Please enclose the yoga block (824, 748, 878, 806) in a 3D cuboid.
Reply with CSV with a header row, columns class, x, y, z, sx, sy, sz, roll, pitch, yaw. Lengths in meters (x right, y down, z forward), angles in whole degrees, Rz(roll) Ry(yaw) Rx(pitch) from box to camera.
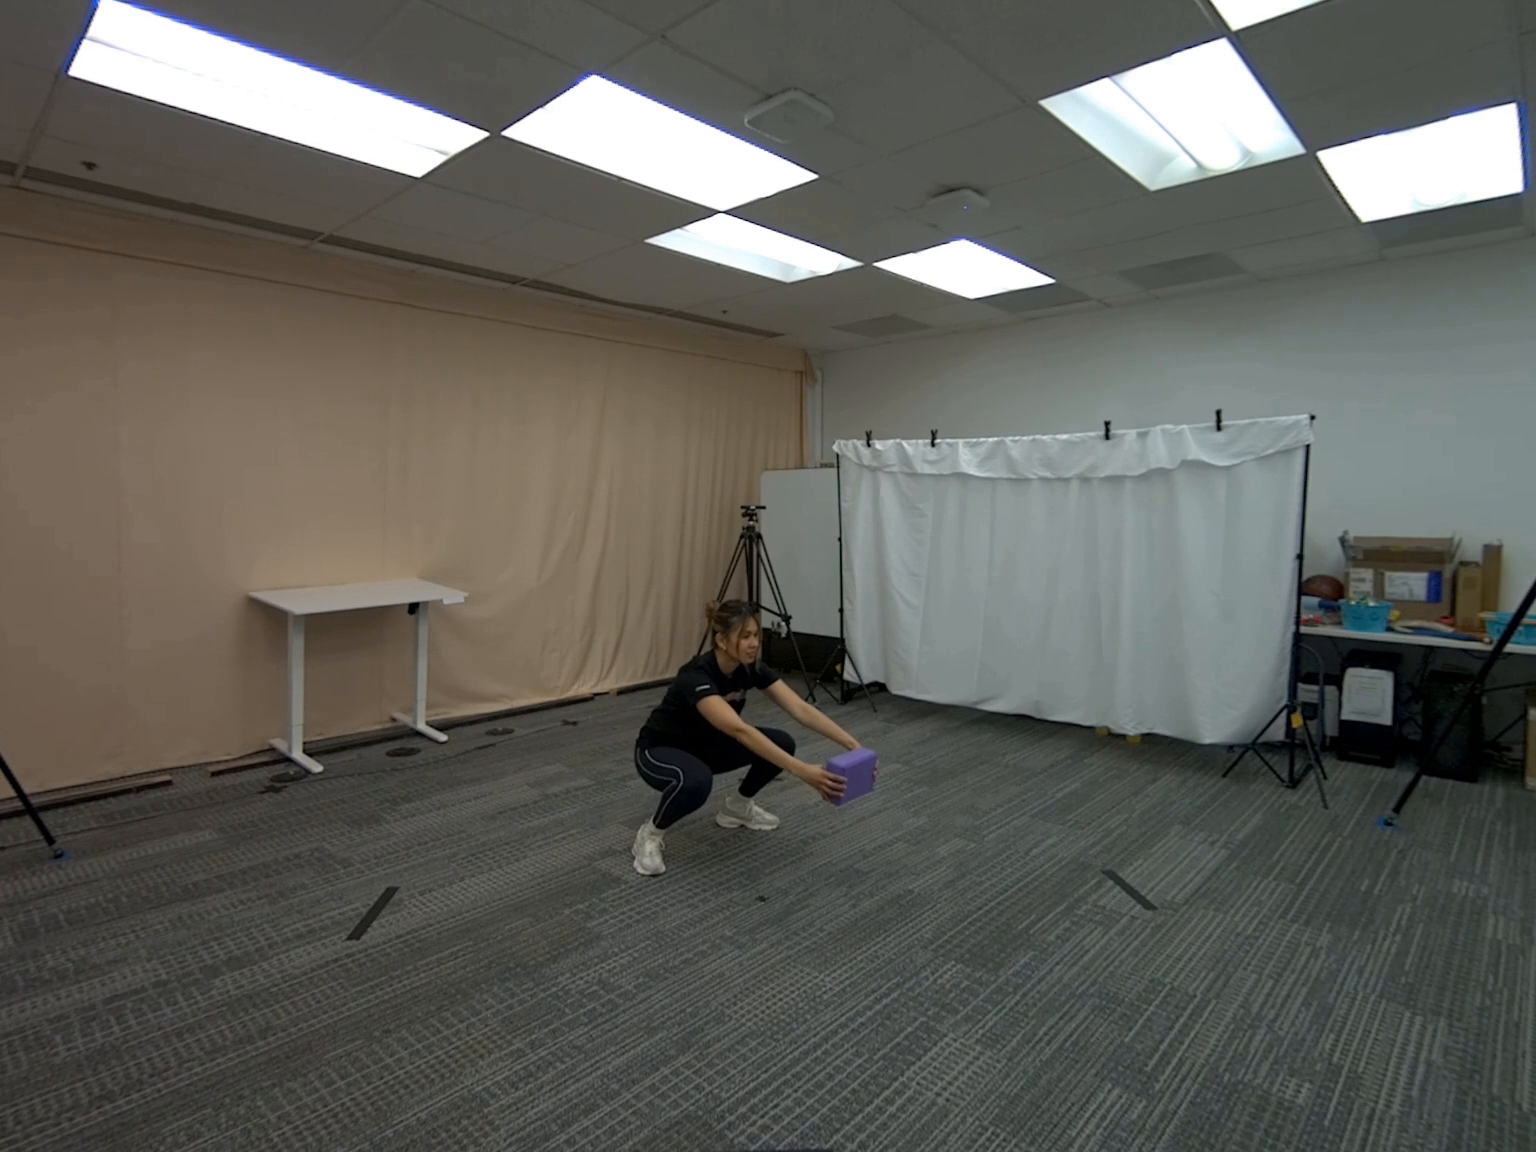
class,x,y,z,sx,sy,sz,roll,pitch,yaw
yoga block,0.296,0.687,2.942,0.079,0.148,0.222,13,11,36
